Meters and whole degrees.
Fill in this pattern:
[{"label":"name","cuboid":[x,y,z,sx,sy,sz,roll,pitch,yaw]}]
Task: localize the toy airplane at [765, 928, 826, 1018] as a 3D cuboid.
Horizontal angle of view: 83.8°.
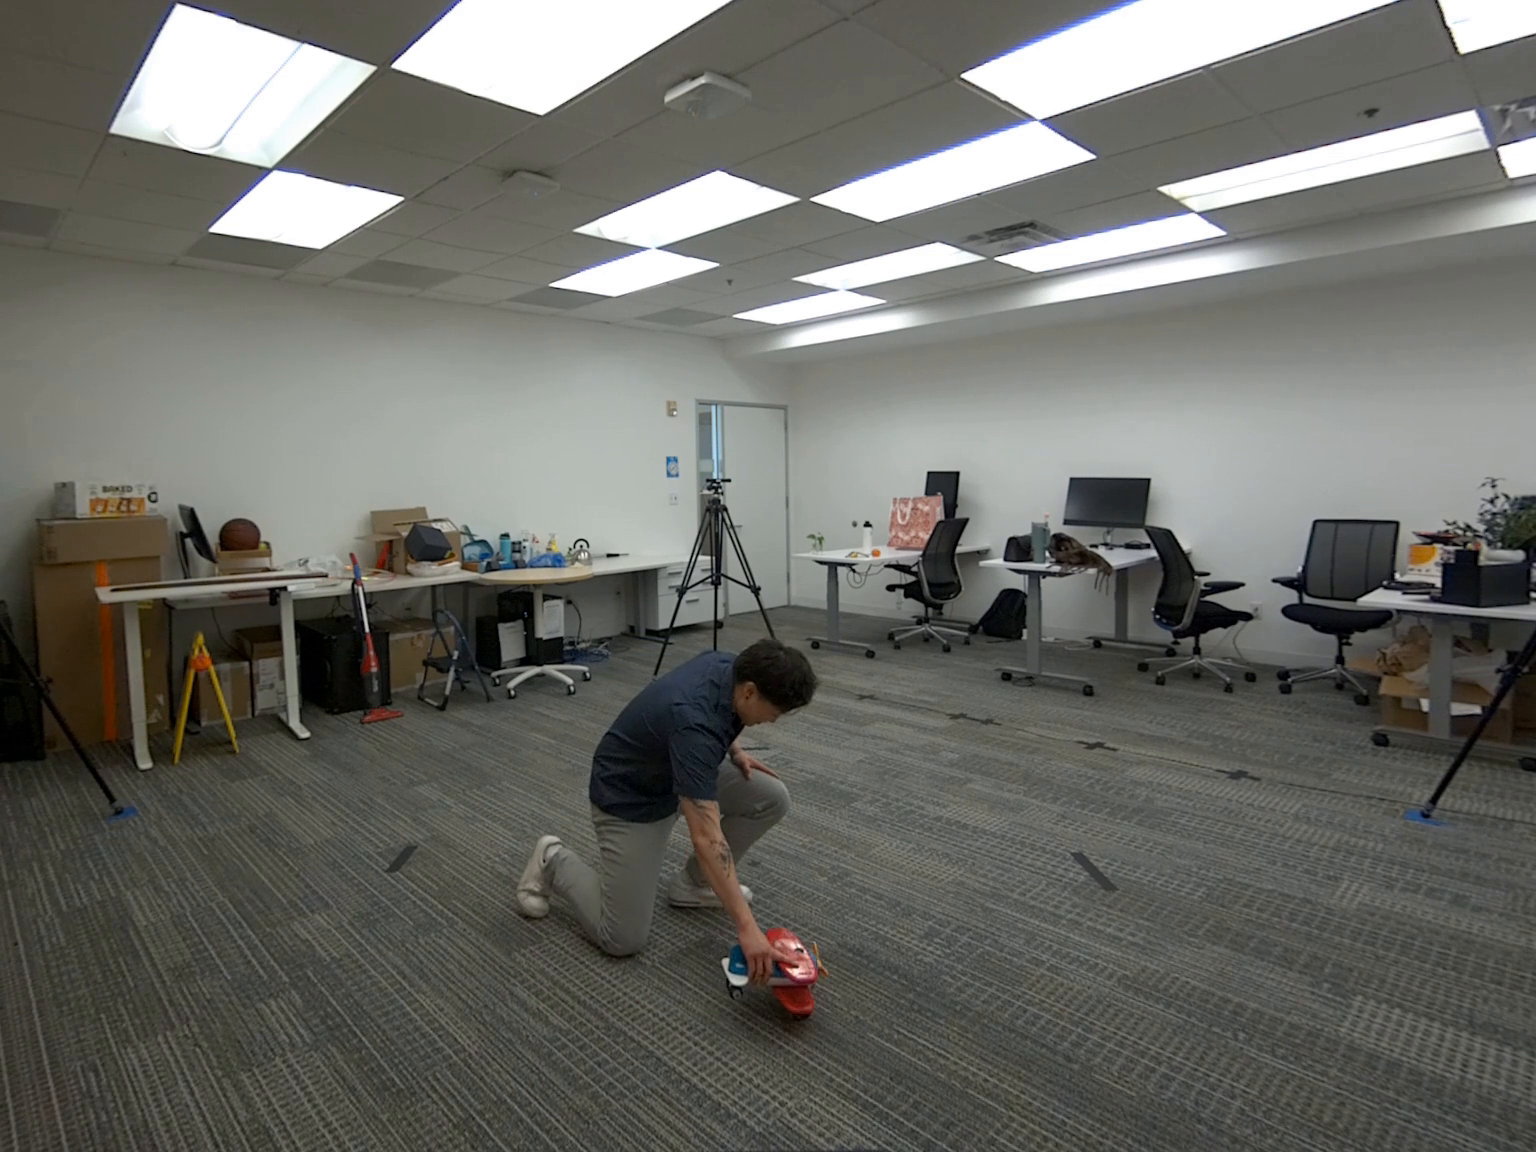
[{"label":"toy airplane","cuboid":[0.030,1.053,2.217,0.260,0.156,0.250,20,-1,45]}]
